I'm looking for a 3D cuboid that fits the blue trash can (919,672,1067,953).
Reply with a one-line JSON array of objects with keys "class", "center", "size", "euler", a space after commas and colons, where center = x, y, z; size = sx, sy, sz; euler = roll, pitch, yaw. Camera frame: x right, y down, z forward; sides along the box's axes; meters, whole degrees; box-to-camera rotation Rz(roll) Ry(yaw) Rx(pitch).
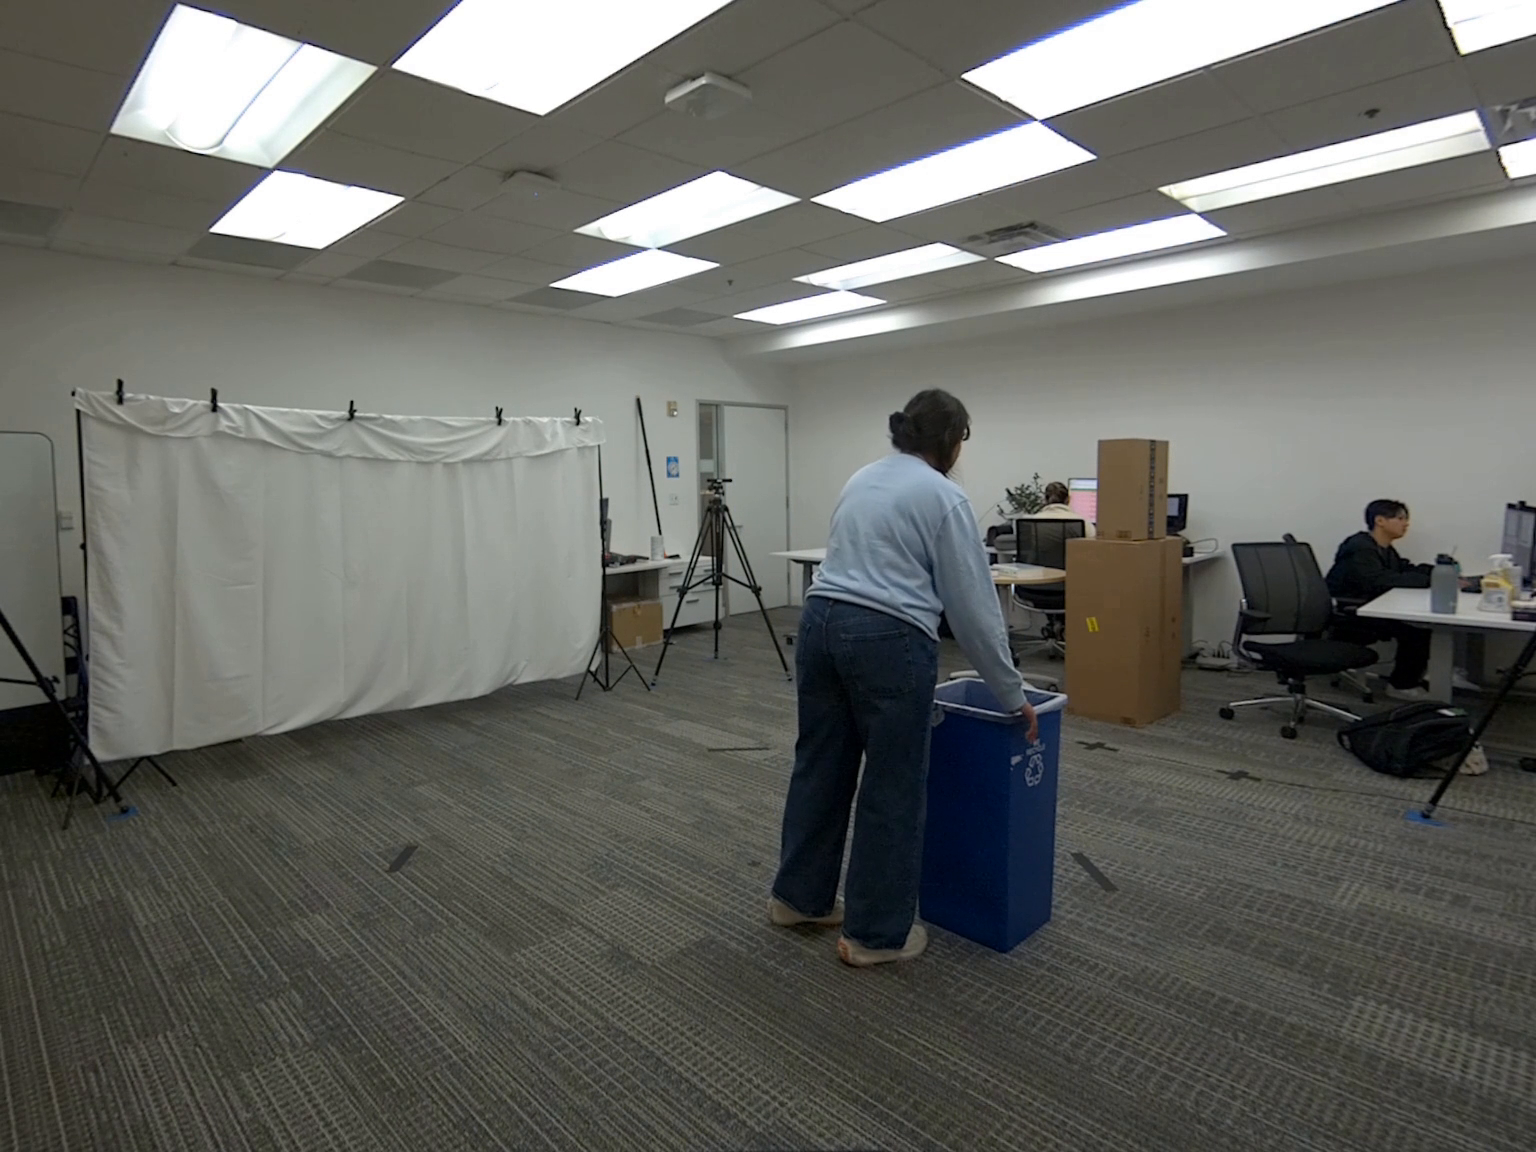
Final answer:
[{"class": "blue trash can", "center": [0.692, 0.725, 2.684], "size": [0.364, 0.711, 0.390], "euler": [-5, 6, -45]}]
